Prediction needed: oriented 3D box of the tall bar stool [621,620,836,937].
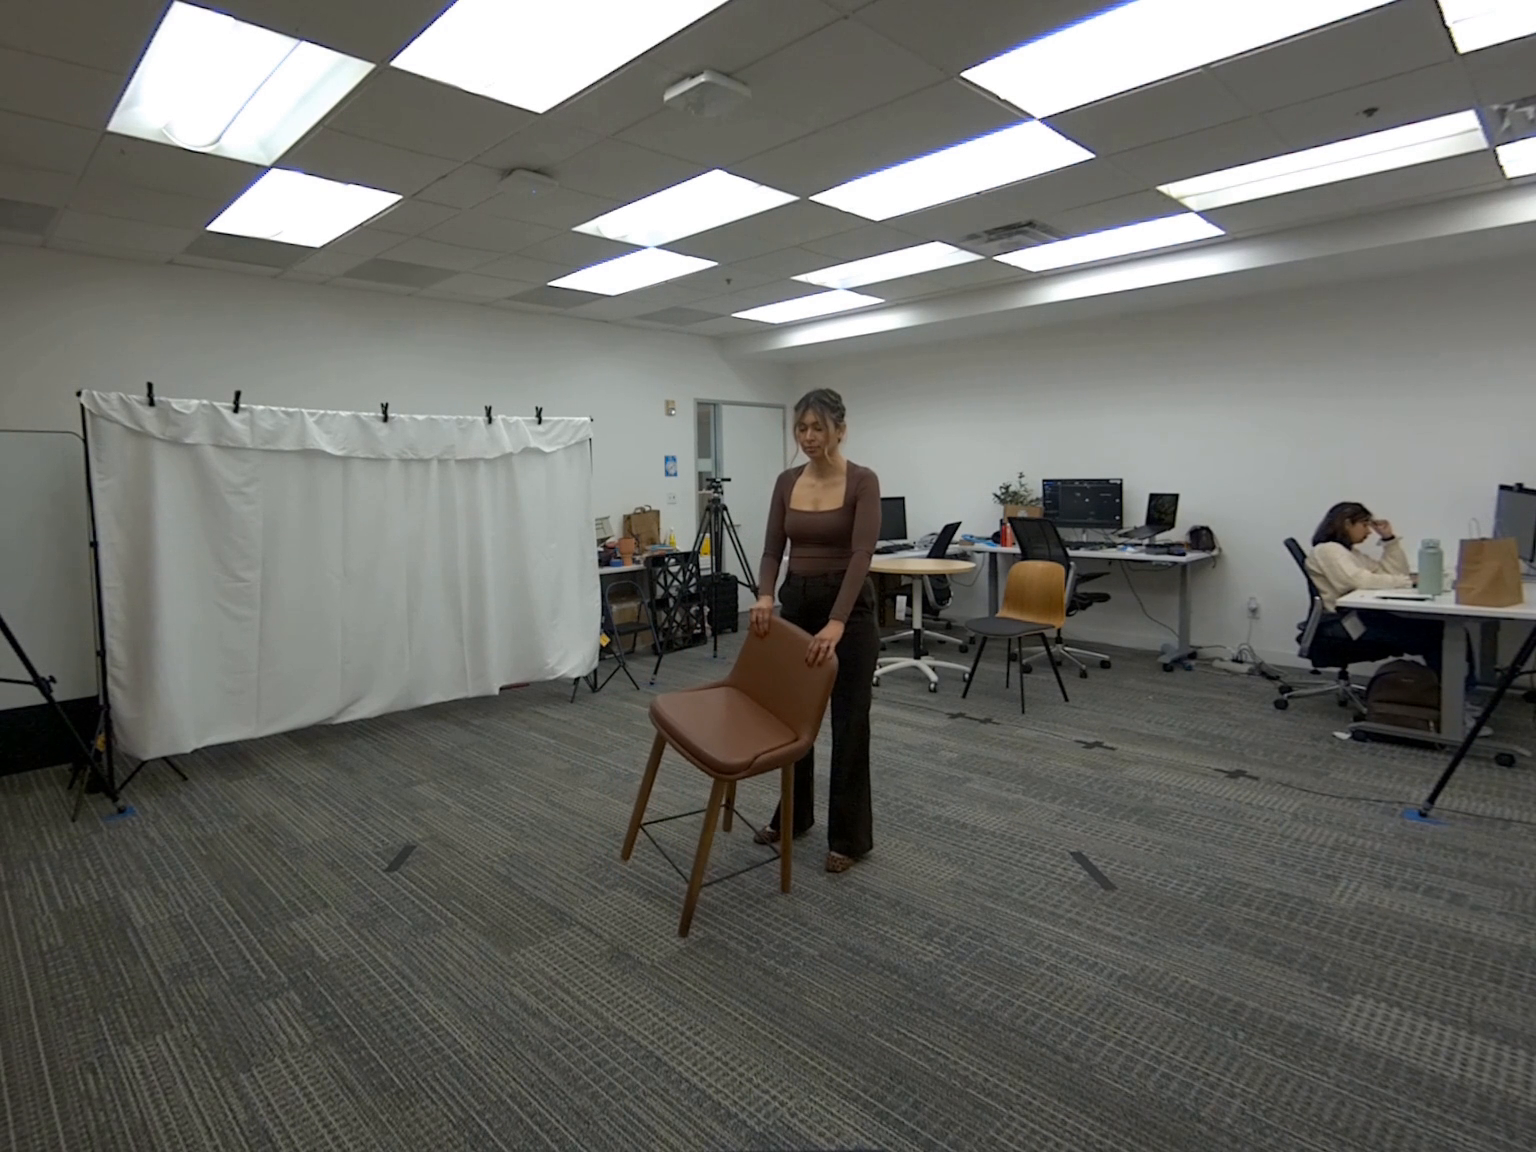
[{"bbox_3d":[-0.129,0.613,2.774,0.455,0.880,0.474,-1,19,-38],"label":"tall bar stool"}]
